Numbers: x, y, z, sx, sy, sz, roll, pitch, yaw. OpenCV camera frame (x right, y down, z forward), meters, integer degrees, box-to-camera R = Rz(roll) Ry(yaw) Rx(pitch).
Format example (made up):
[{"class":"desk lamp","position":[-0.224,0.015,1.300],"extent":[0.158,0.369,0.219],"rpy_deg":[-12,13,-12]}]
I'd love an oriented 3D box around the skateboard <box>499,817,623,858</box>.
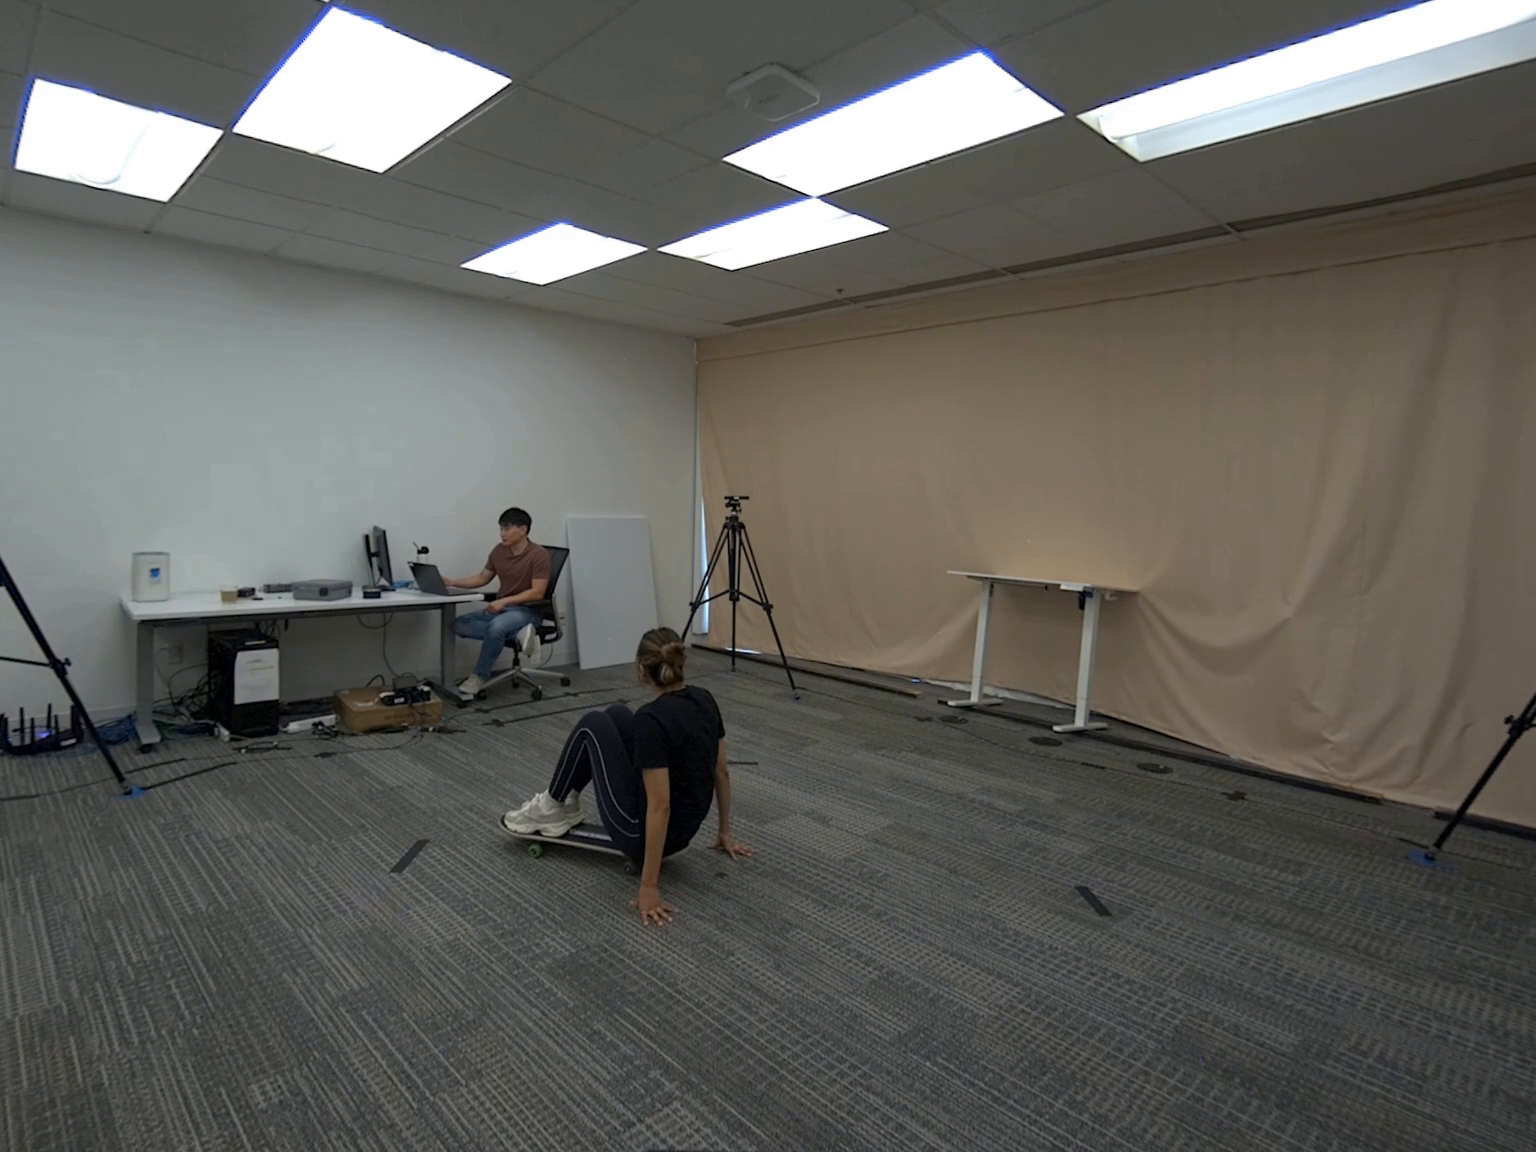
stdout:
[{"class":"skateboard","position":[-0.671,1.024,3.232],"extent":[0.797,0.110,0.191],"rpy_deg":[3,2,18]}]
